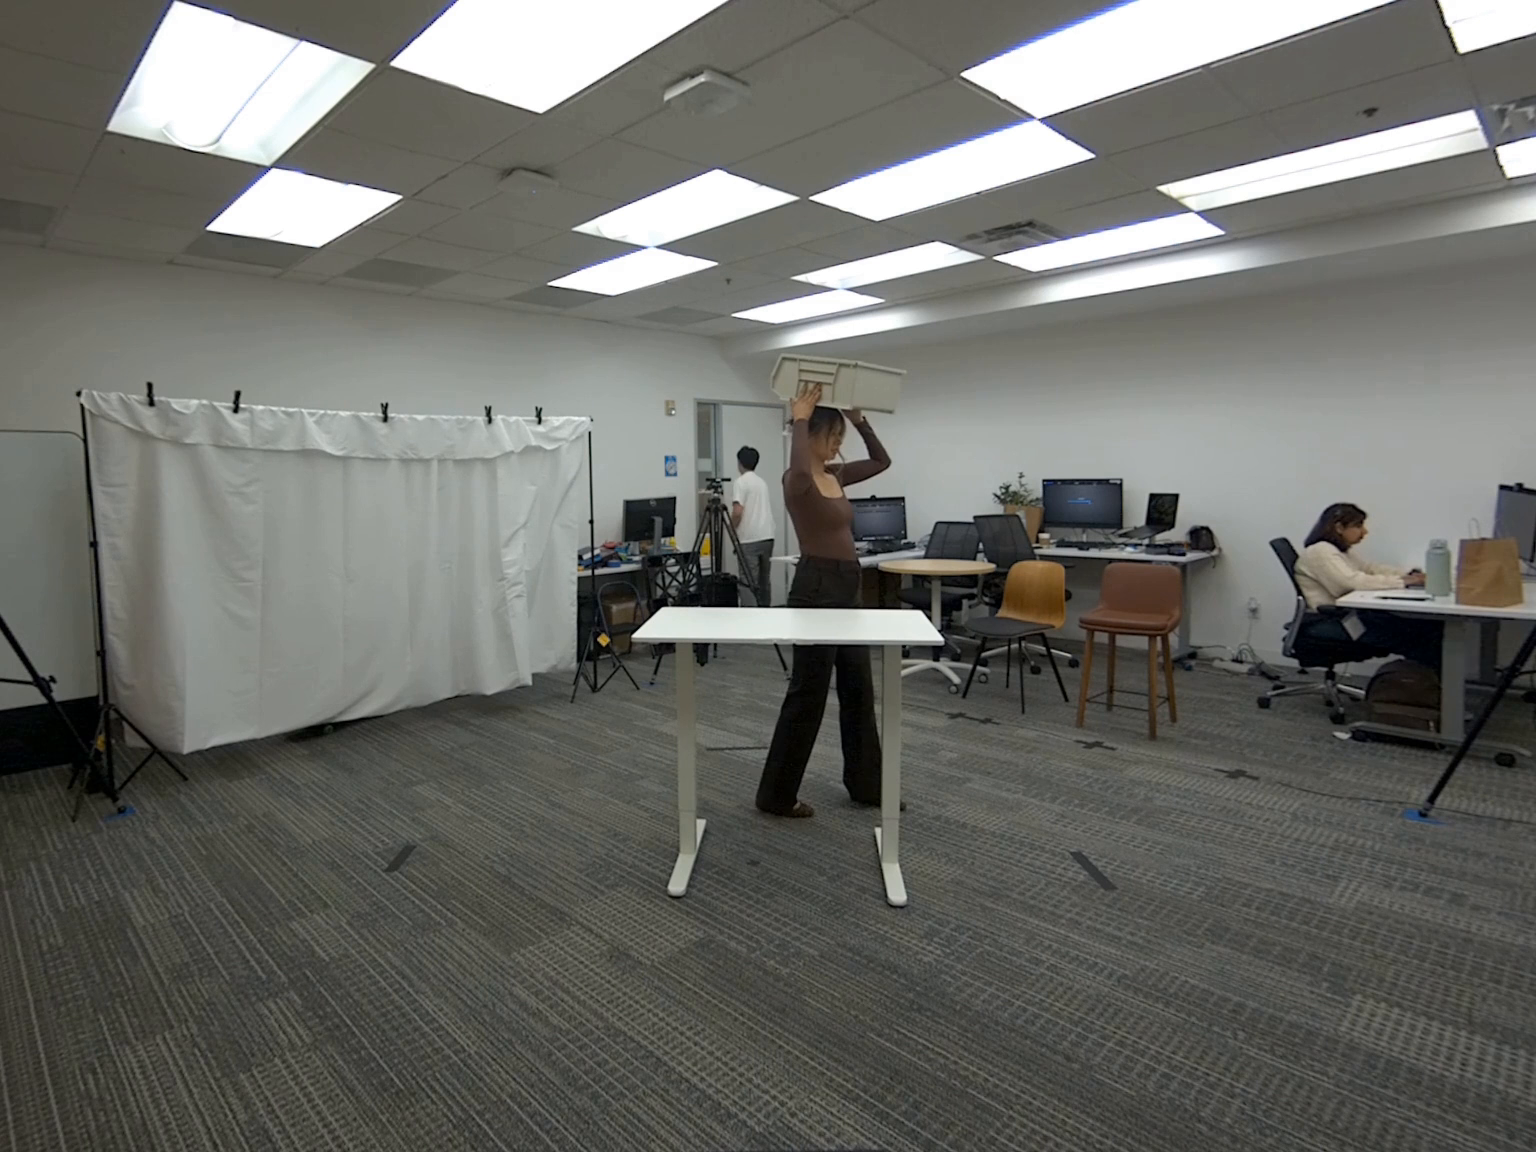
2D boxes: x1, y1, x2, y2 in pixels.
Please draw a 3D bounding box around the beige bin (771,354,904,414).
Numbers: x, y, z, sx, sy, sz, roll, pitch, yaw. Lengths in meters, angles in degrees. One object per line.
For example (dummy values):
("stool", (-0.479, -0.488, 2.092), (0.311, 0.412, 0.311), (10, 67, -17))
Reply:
("beige bin", (0.282, -0.772, 3.441), (0.390, 0.187, 0.412), (15, 14, 33))
